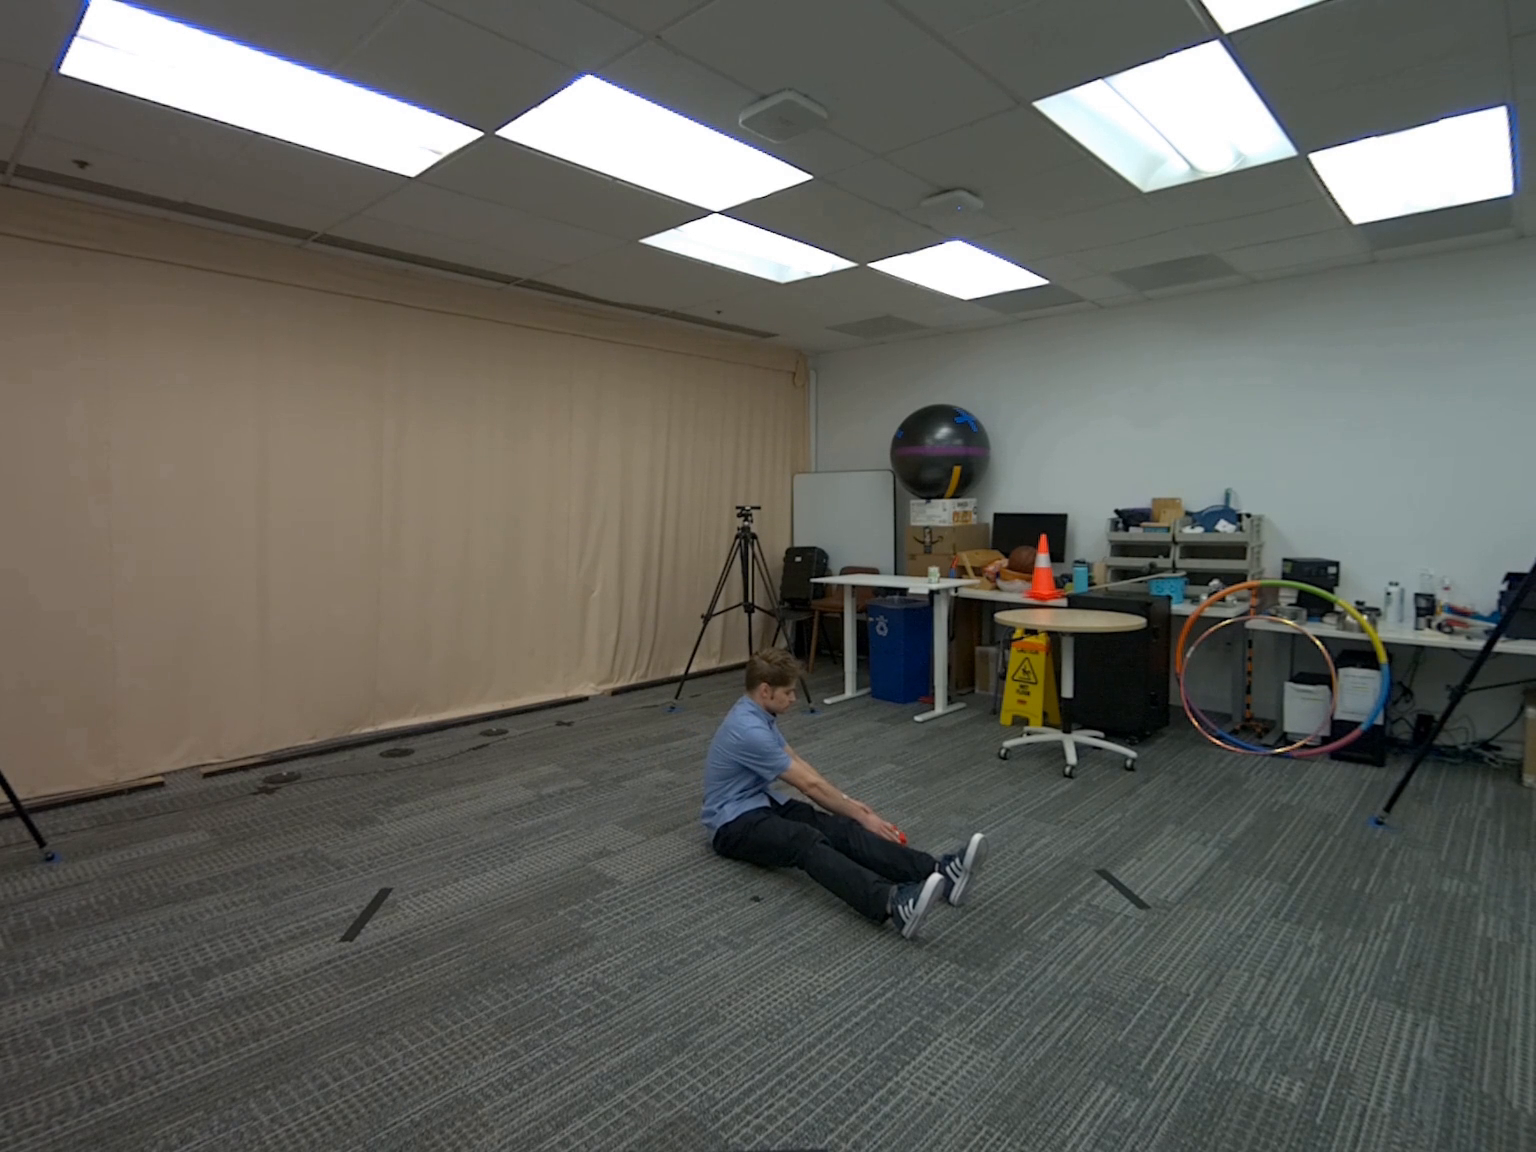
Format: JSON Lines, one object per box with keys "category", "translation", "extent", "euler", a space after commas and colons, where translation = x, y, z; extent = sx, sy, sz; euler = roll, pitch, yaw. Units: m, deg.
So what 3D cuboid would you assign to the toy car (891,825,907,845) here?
{"category": "toy car", "translation": [0.491, 1.067, 3.484], "extent": [0.128, 0.083, 0.257], "euler": [0, -7, -16]}
